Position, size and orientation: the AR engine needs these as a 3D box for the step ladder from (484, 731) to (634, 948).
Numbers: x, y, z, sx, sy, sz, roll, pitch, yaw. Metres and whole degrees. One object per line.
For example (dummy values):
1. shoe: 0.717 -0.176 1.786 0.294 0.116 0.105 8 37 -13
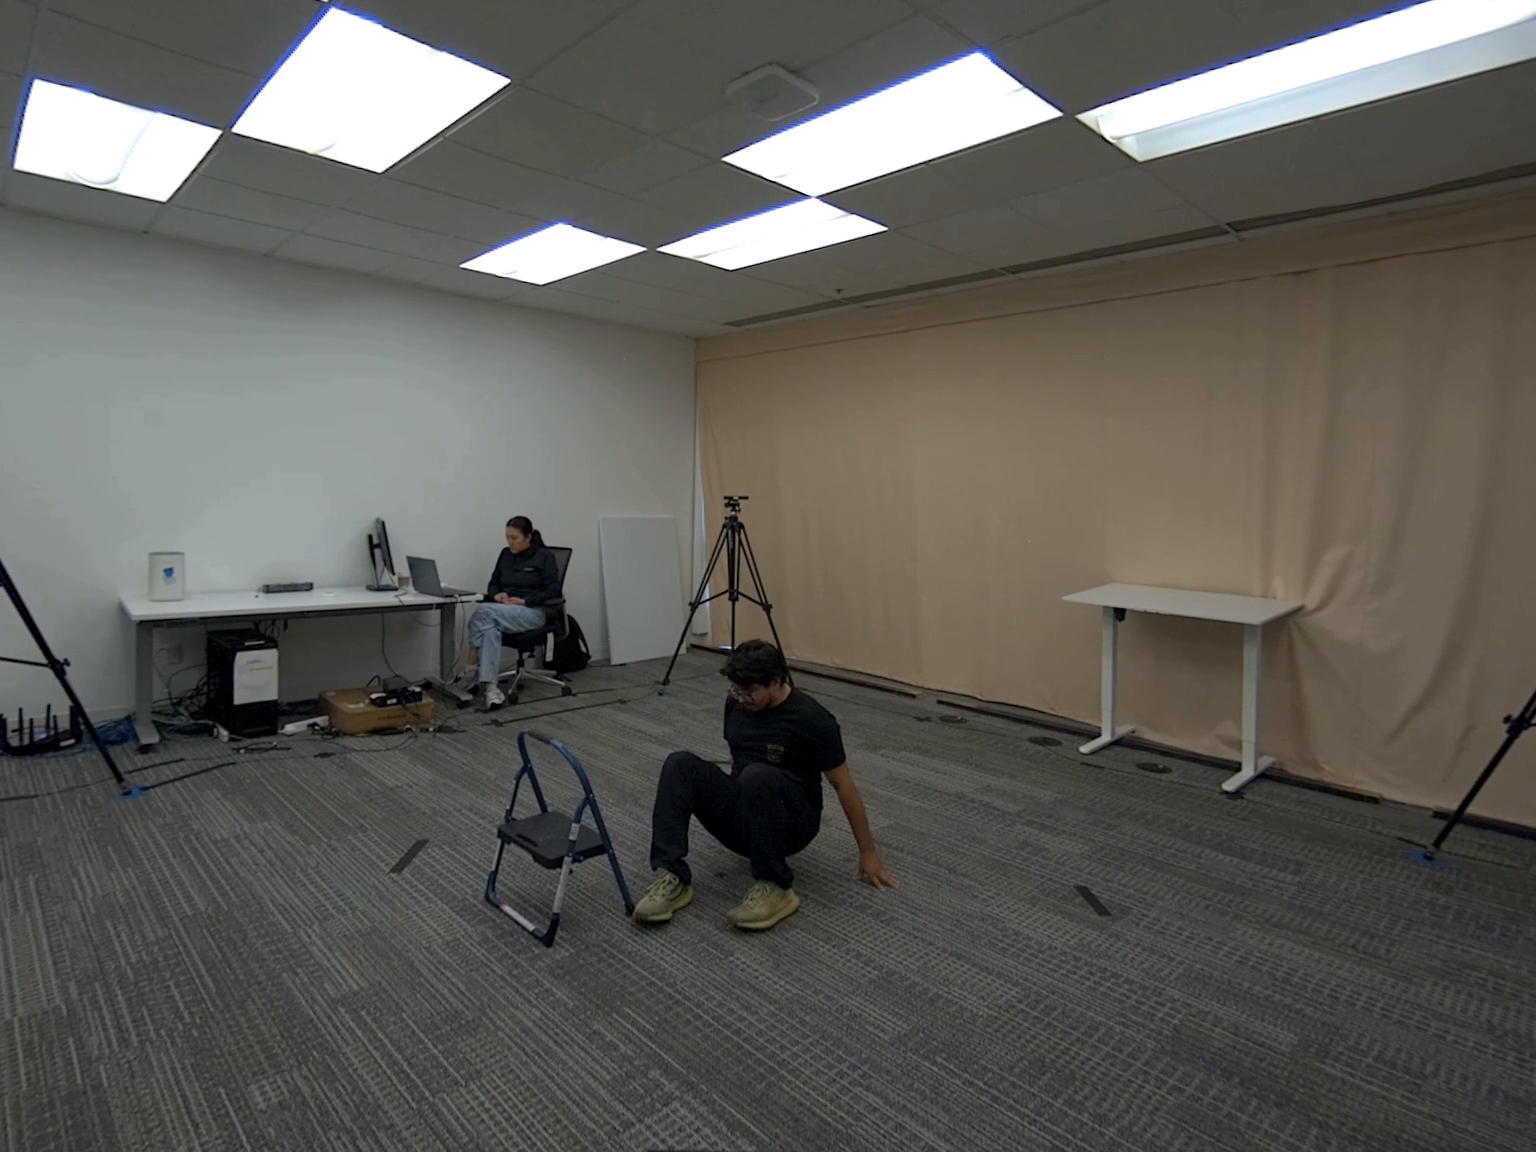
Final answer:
1. step ladder: -0.701 0.815 2.822 0.341 0.604 0.441 -3 5 -44
